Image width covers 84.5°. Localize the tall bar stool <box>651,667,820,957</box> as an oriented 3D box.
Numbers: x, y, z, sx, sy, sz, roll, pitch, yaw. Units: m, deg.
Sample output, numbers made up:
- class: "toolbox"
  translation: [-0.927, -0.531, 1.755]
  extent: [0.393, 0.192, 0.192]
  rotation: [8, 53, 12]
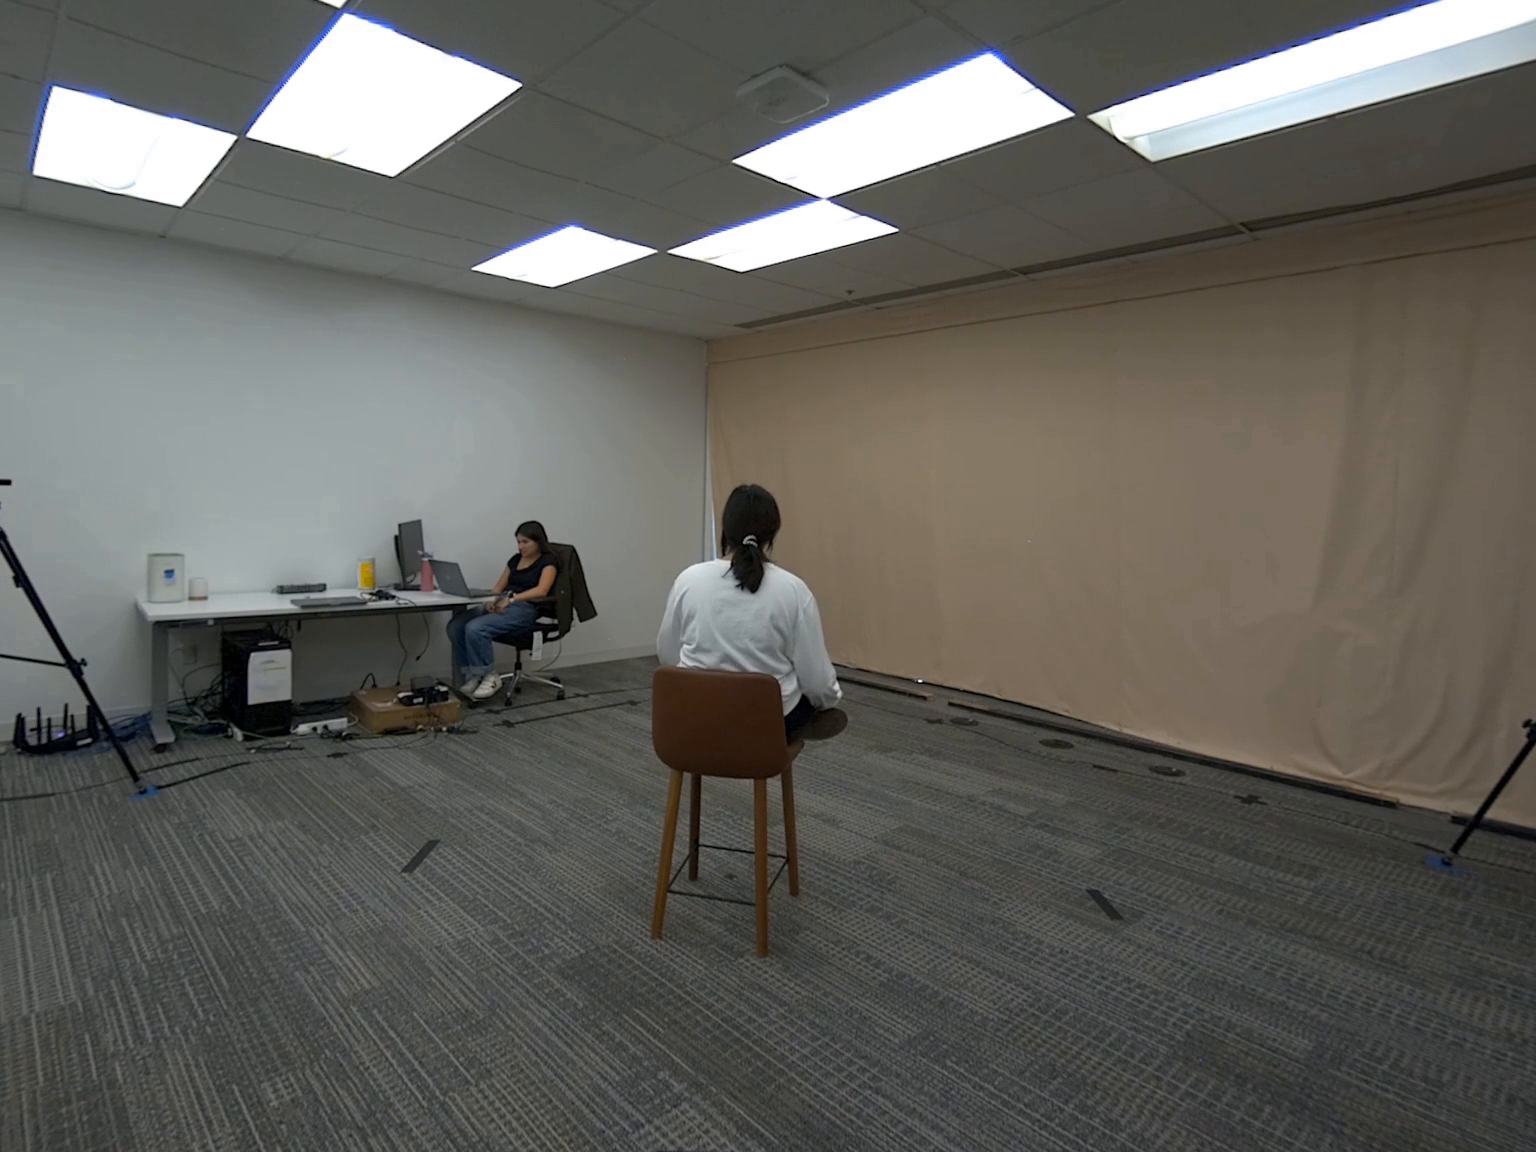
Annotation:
- class: "tall bar stool"
  translation: [-0.139, 0.709, 2.785]
  extent: [0.462, 0.886, 0.463]
  rotation: [3, 6, 15]
